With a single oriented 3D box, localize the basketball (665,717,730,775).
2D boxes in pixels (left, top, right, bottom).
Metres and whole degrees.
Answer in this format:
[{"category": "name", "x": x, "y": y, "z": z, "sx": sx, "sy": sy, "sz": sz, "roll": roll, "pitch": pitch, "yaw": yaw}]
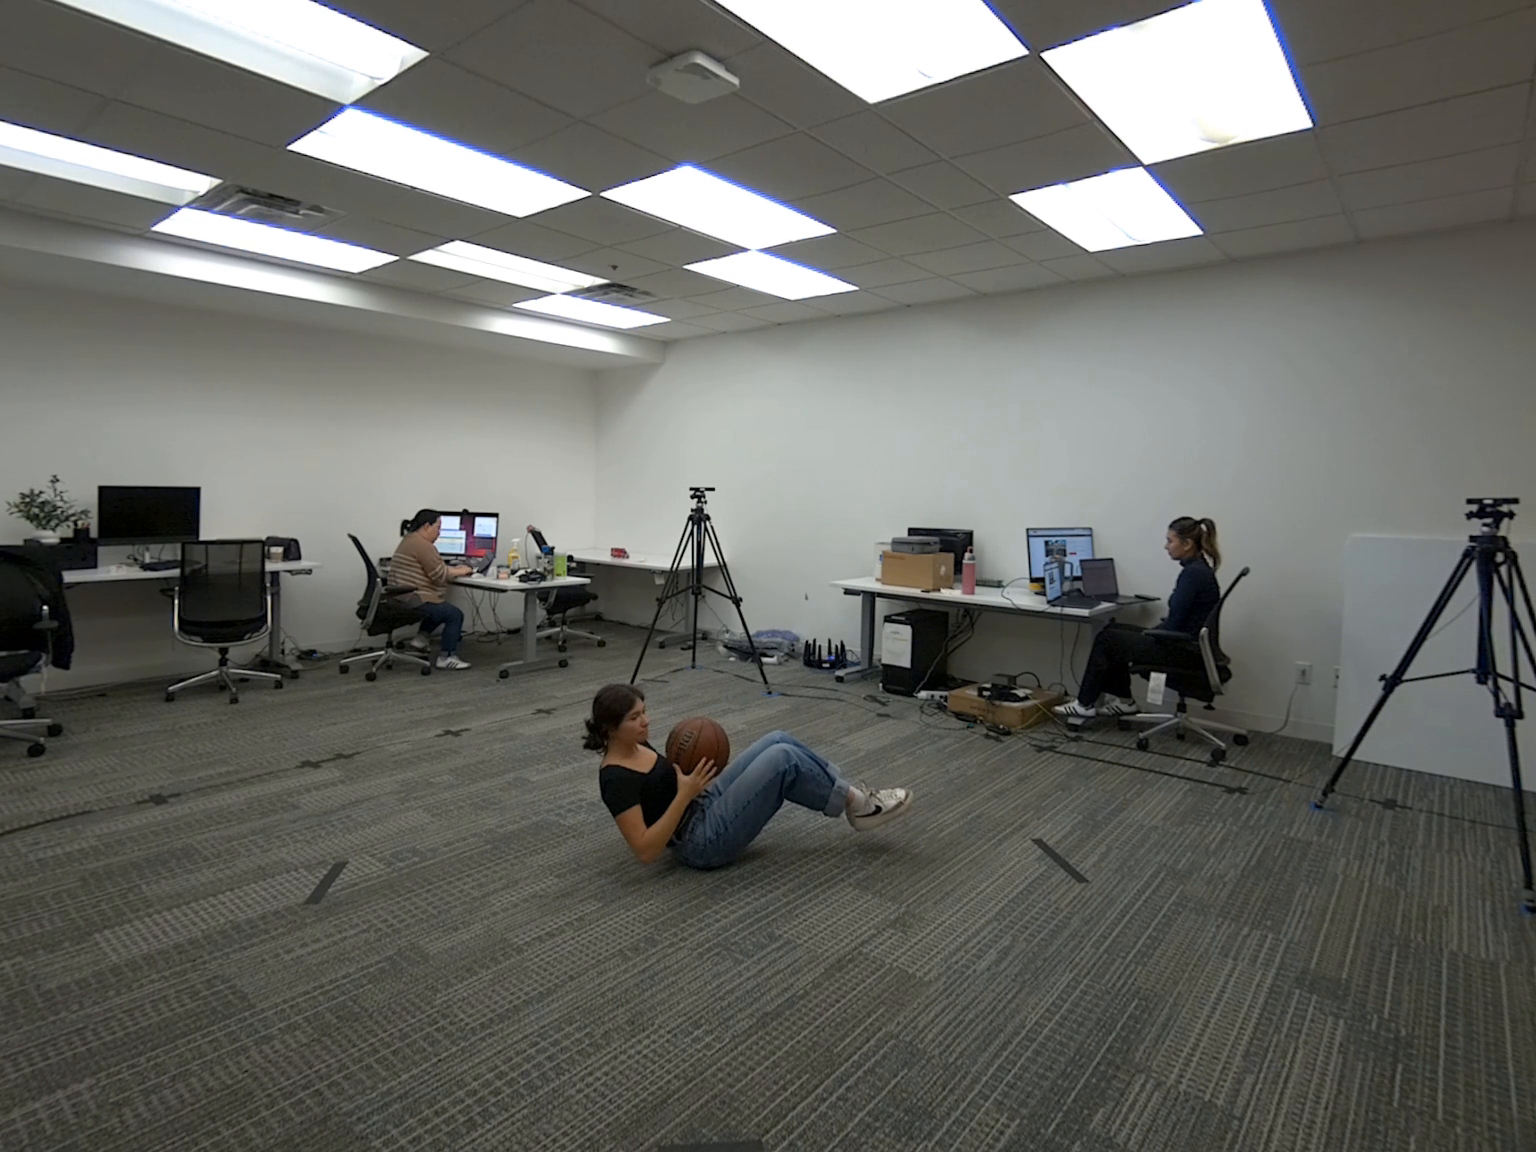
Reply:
[{"category": "basketball", "x": -0.269, "y": 0.643, "z": 3.137, "sx": 0.235, "sy": 0.235, "sz": 0.237, "roll": 1, "pitch": 4, "yaw": -2}]
